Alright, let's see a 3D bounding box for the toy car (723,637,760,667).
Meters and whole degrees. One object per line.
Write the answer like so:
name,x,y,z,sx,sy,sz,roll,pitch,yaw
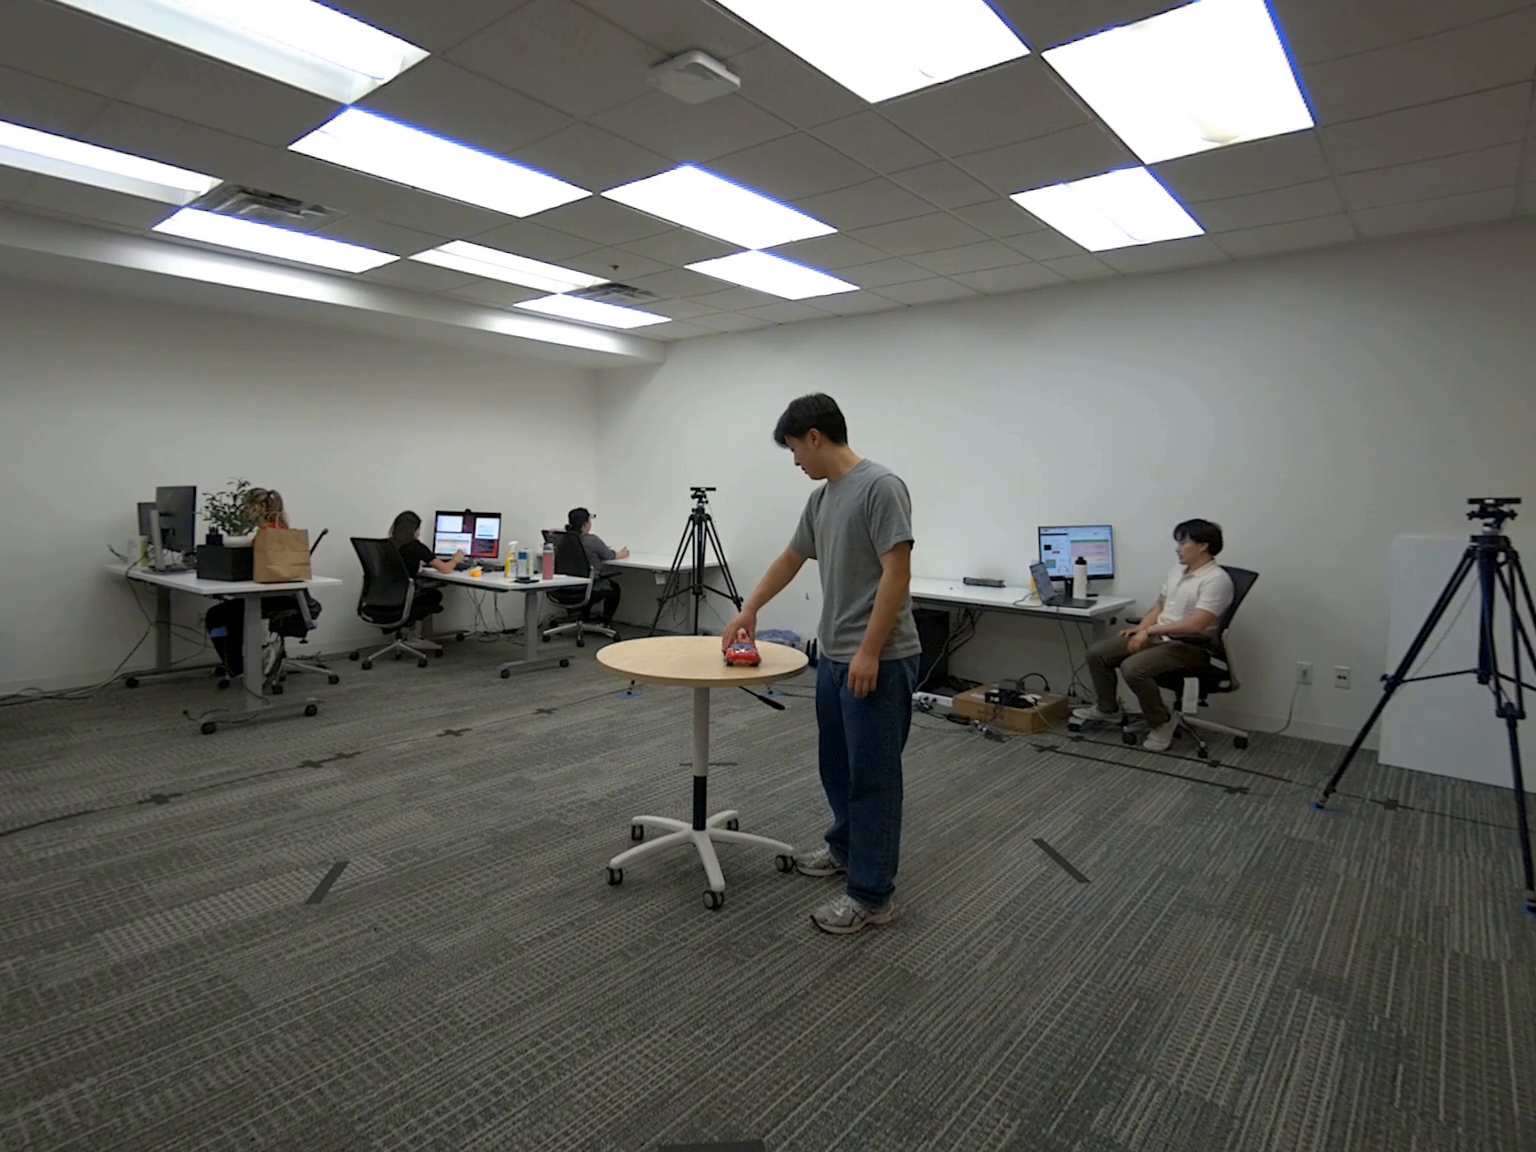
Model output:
toy car,-0.105,0.265,3.011,0.129,0.082,0.260,1,17,-7
